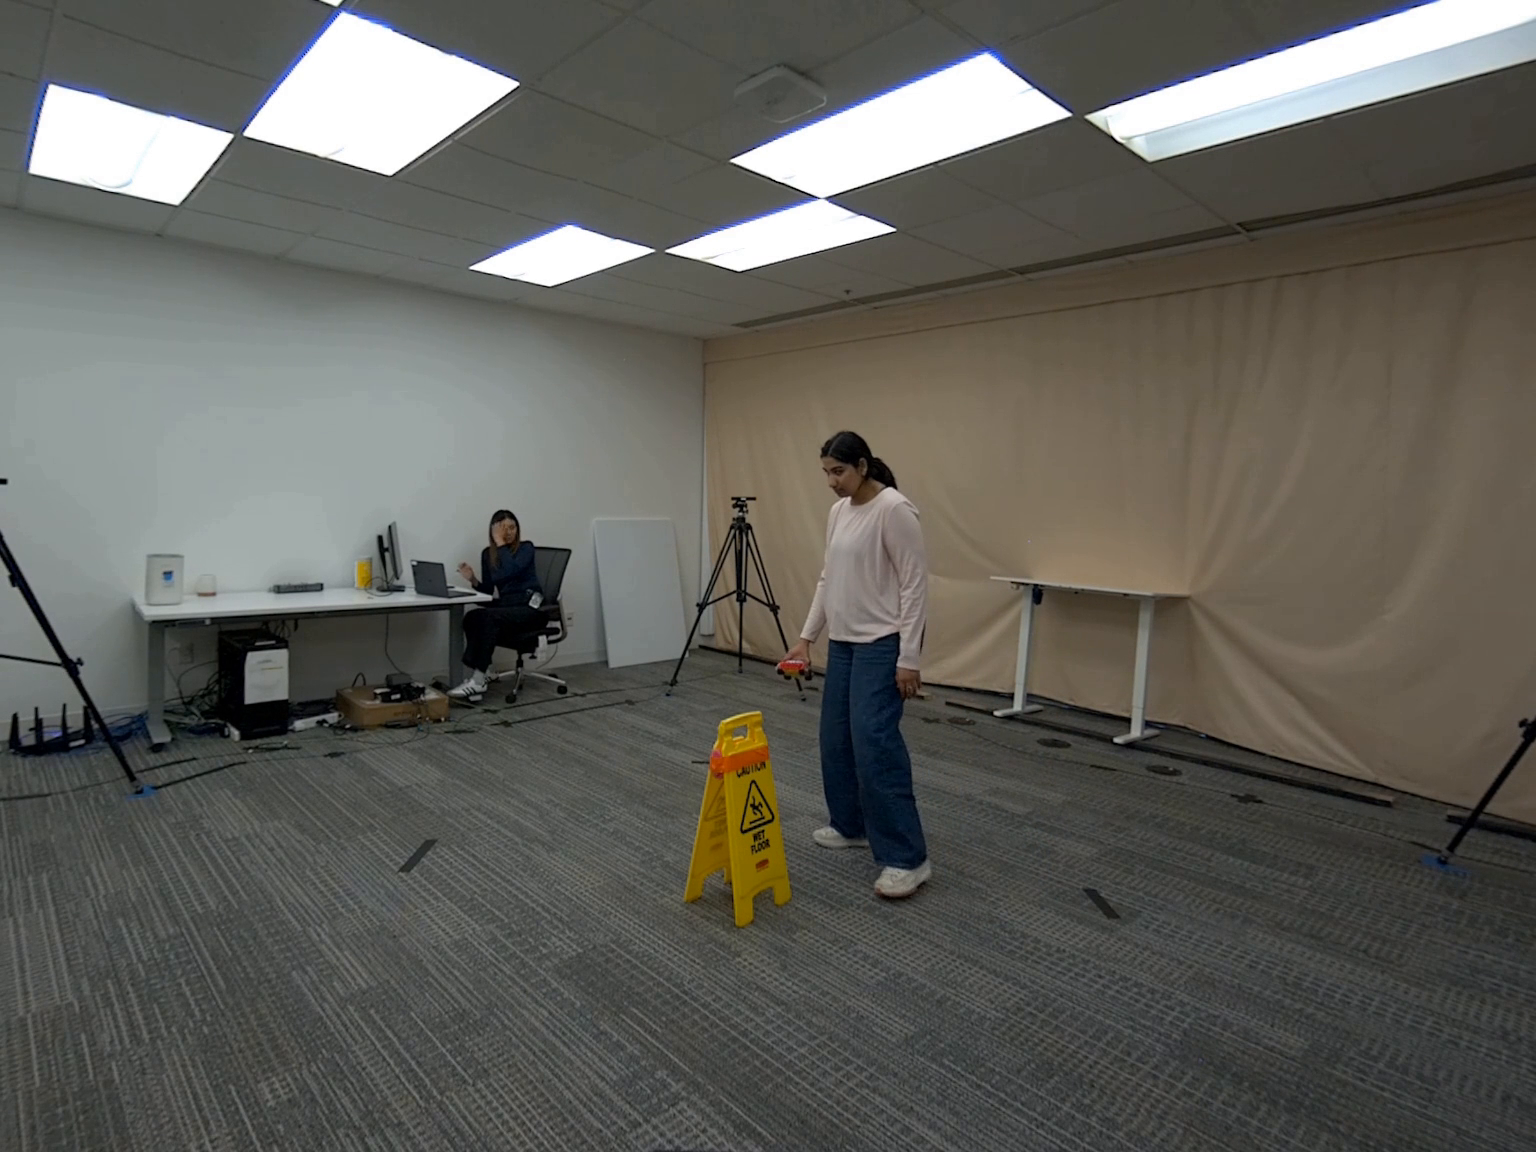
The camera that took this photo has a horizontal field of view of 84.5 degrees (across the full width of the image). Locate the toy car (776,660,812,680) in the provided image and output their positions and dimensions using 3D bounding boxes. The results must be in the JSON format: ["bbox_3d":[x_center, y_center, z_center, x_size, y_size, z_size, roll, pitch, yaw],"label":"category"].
[{"bbox_3d":[0.112,0.382,3.422,0.132,0.083,0.251,-1,-4,13],"label":"toy car"}]
